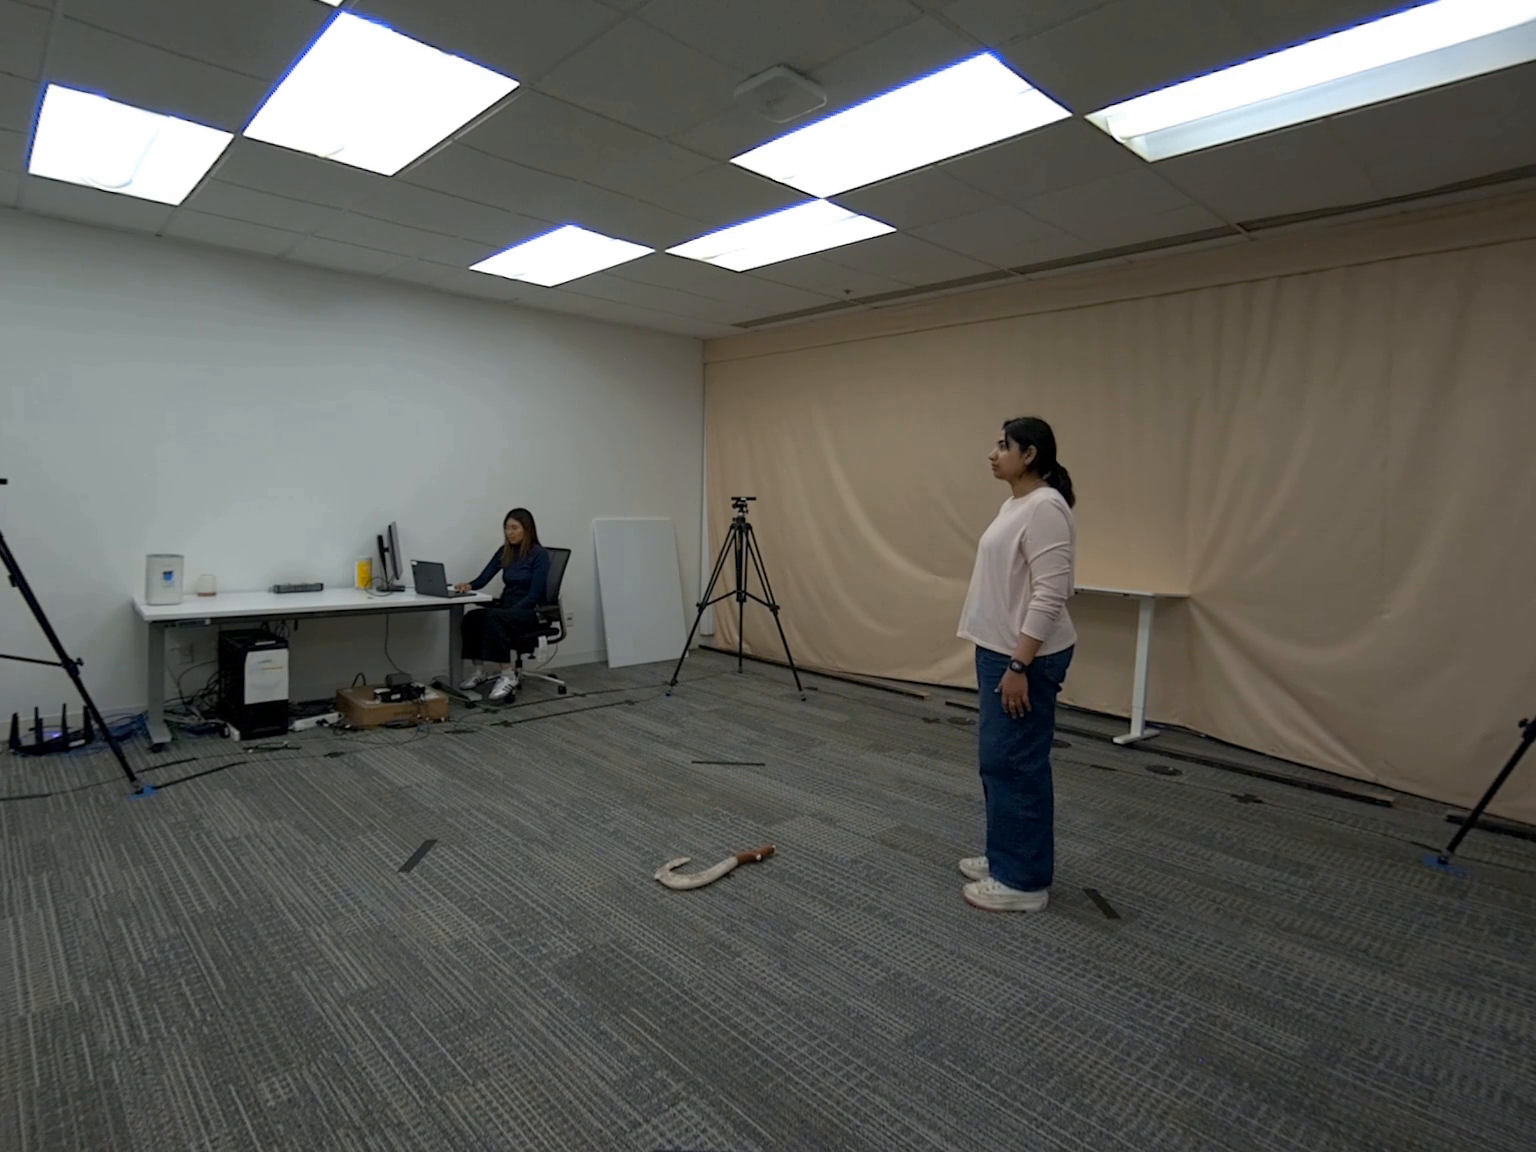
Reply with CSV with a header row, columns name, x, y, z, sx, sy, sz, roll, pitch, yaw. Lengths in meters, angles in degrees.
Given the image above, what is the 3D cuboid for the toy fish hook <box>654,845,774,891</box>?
name,x,y,z,sx,sy,sz,roll,pitch,yaw
toy fish hook,-0.200,1.072,3.176,0.495,0.048,0.230,-3,7,-40
